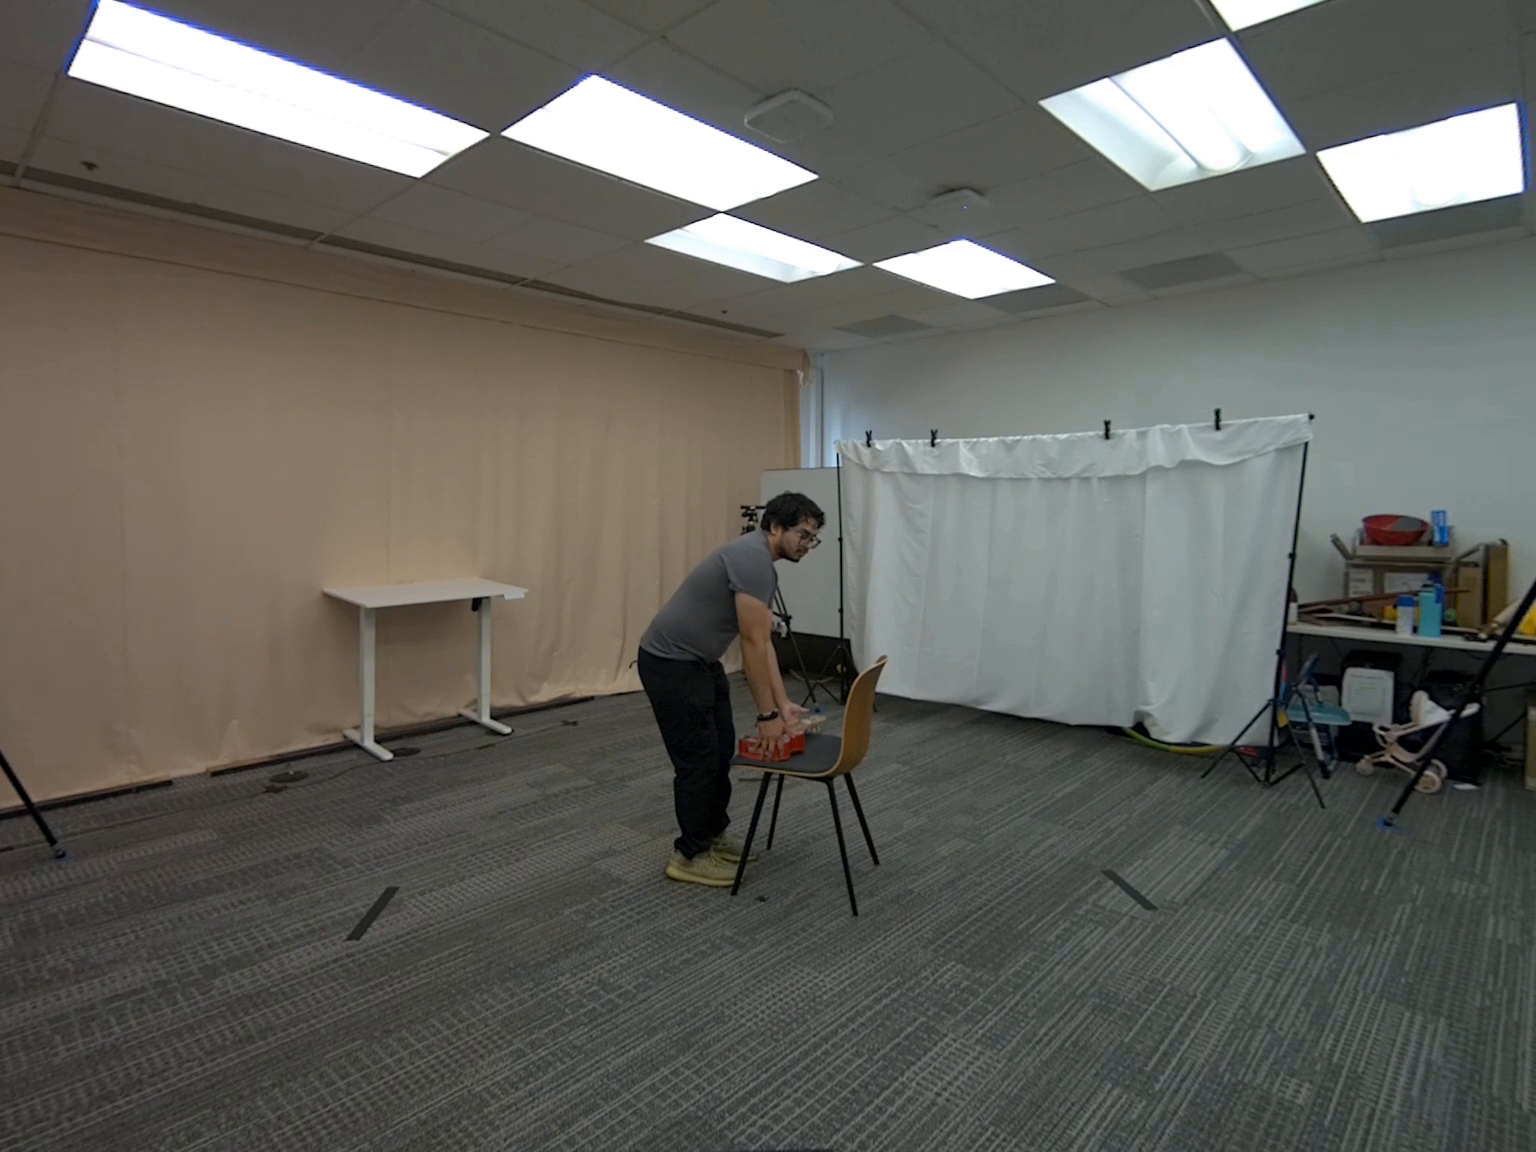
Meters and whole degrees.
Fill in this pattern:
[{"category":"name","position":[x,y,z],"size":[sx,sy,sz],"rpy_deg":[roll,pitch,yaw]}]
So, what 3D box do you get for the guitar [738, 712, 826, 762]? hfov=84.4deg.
[{"category":"guitar","position":[0.110,0.613,3.157],"size":[0.199,0.070,0.483],"rpy_deg":[6,8,44]}]
